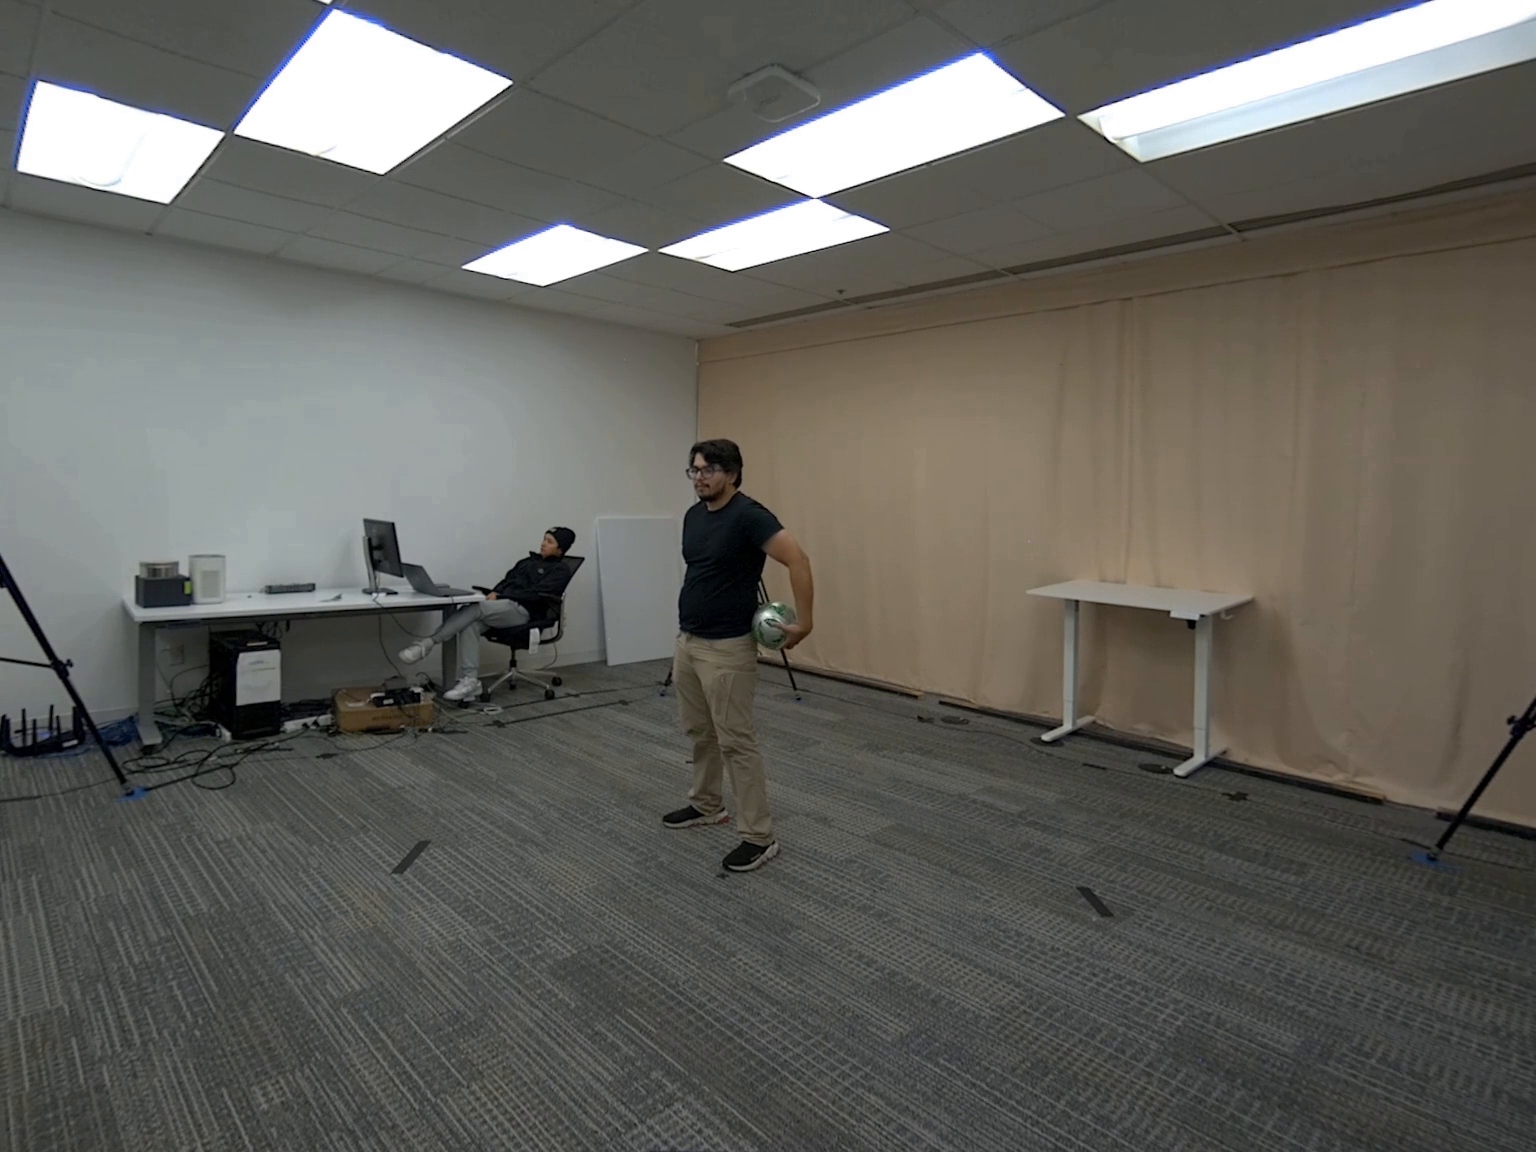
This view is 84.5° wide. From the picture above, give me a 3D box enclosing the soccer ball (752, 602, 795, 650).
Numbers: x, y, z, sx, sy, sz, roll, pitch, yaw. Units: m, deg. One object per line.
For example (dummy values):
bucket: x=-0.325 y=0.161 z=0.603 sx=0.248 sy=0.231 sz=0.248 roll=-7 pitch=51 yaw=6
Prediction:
soccer ball: x=0.018 y=0.187 z=3.266 sx=0.187 sy=0.187 sz=0.188 roll=1 pitch=4 yaw=-1
